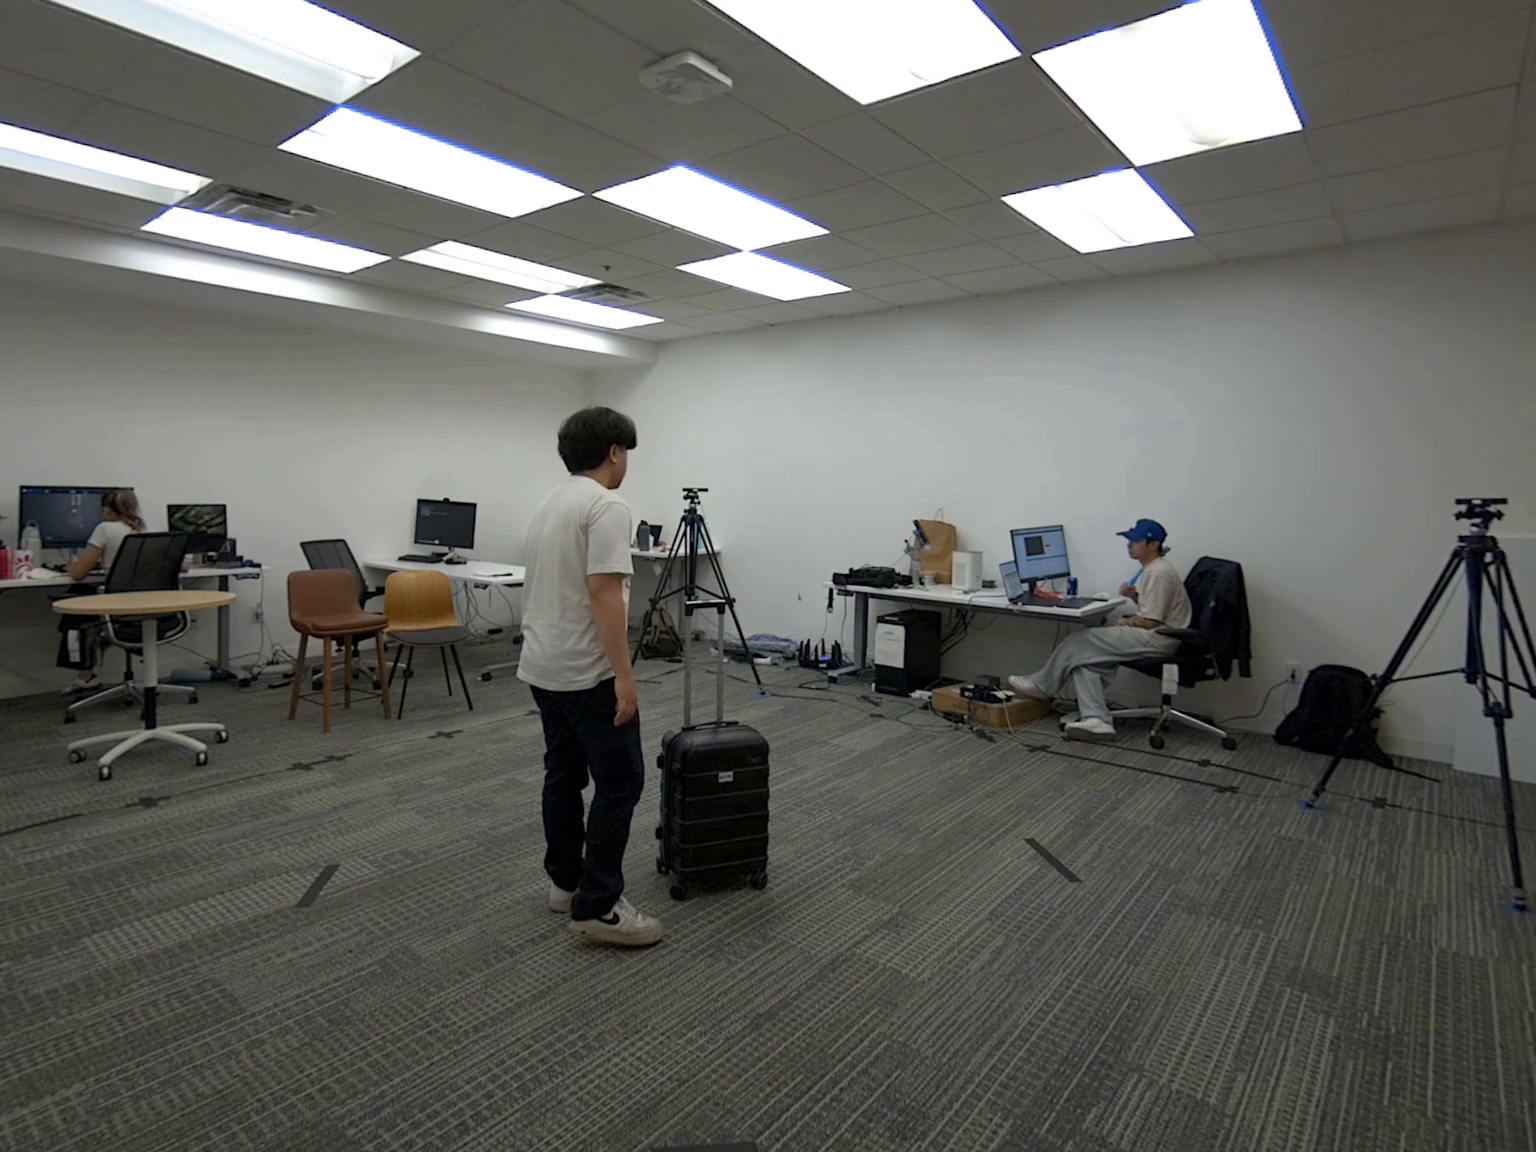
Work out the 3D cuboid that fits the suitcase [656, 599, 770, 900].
[{"bbox_3d":[-0.198,0.605,3.009,0.376,0.974,0.263,-2,5,-21],"label":"suitcase"}]
